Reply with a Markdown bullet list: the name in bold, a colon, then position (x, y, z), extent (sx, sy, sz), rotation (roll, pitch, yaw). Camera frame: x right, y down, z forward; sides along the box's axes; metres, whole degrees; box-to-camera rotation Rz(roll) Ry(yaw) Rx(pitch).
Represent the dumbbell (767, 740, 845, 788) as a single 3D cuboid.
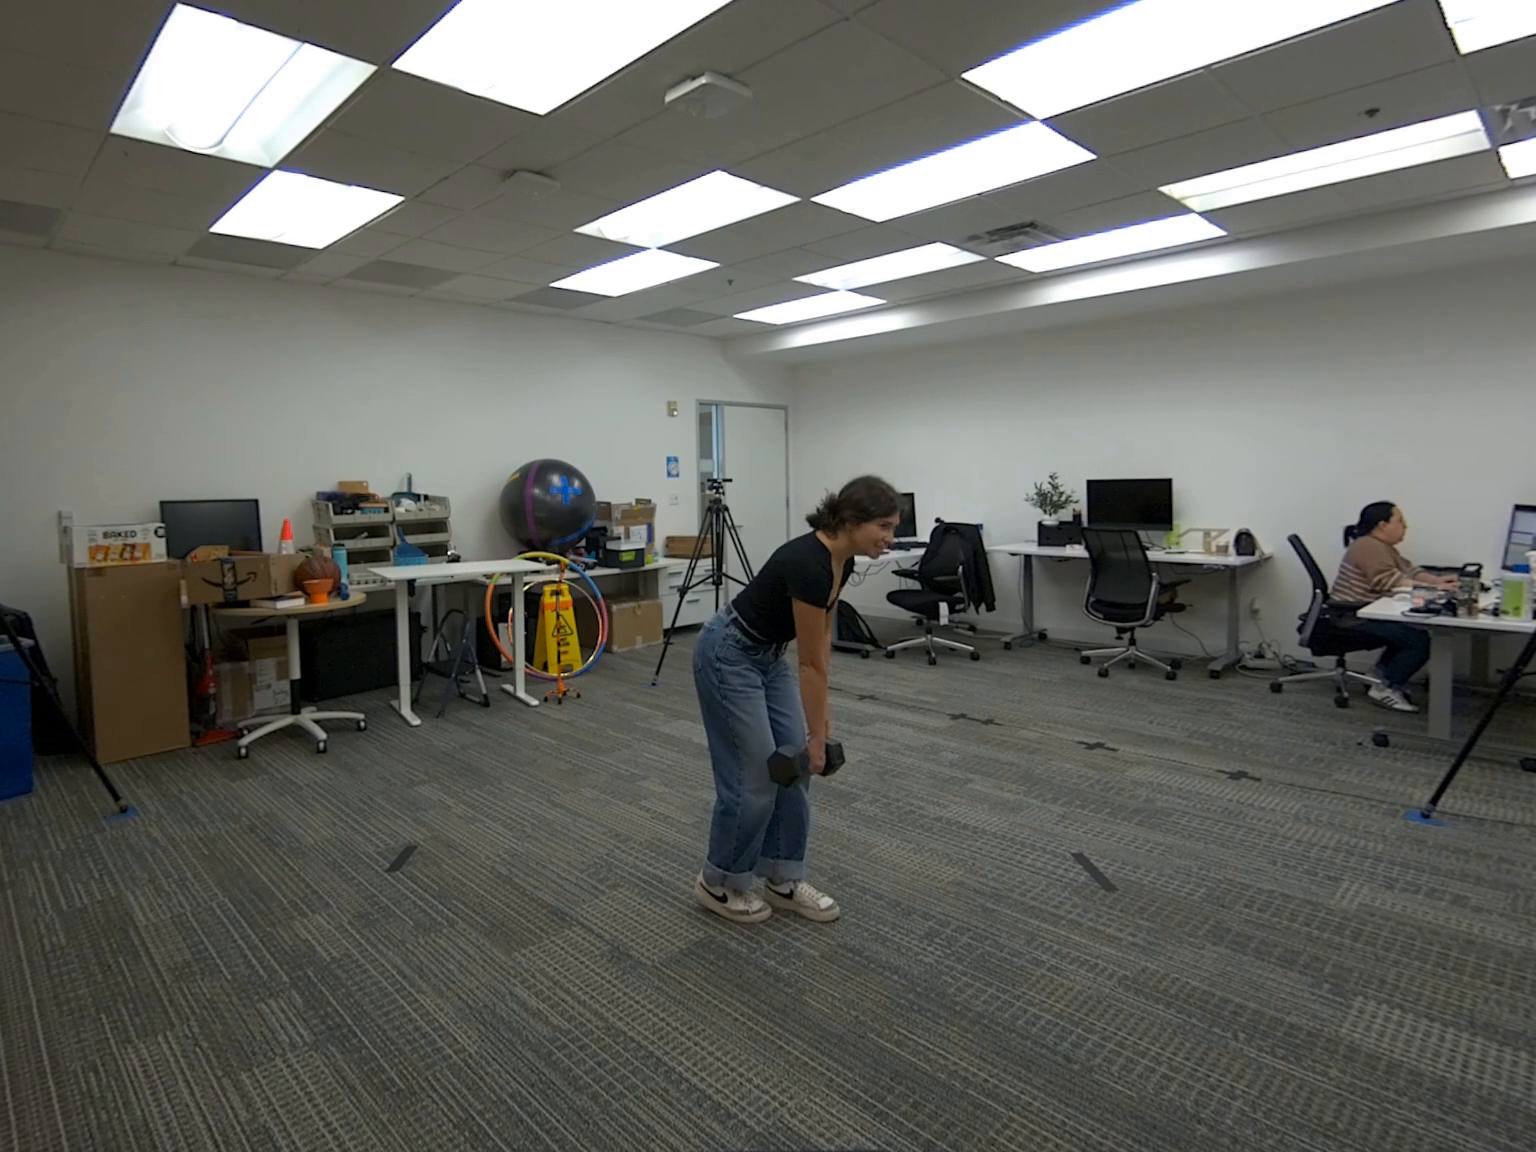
- **dumbbell**: position (0.120, 0.574, 2.637), extent (0.112, 0.122, 0.285), rotation (49, 25, 24)
